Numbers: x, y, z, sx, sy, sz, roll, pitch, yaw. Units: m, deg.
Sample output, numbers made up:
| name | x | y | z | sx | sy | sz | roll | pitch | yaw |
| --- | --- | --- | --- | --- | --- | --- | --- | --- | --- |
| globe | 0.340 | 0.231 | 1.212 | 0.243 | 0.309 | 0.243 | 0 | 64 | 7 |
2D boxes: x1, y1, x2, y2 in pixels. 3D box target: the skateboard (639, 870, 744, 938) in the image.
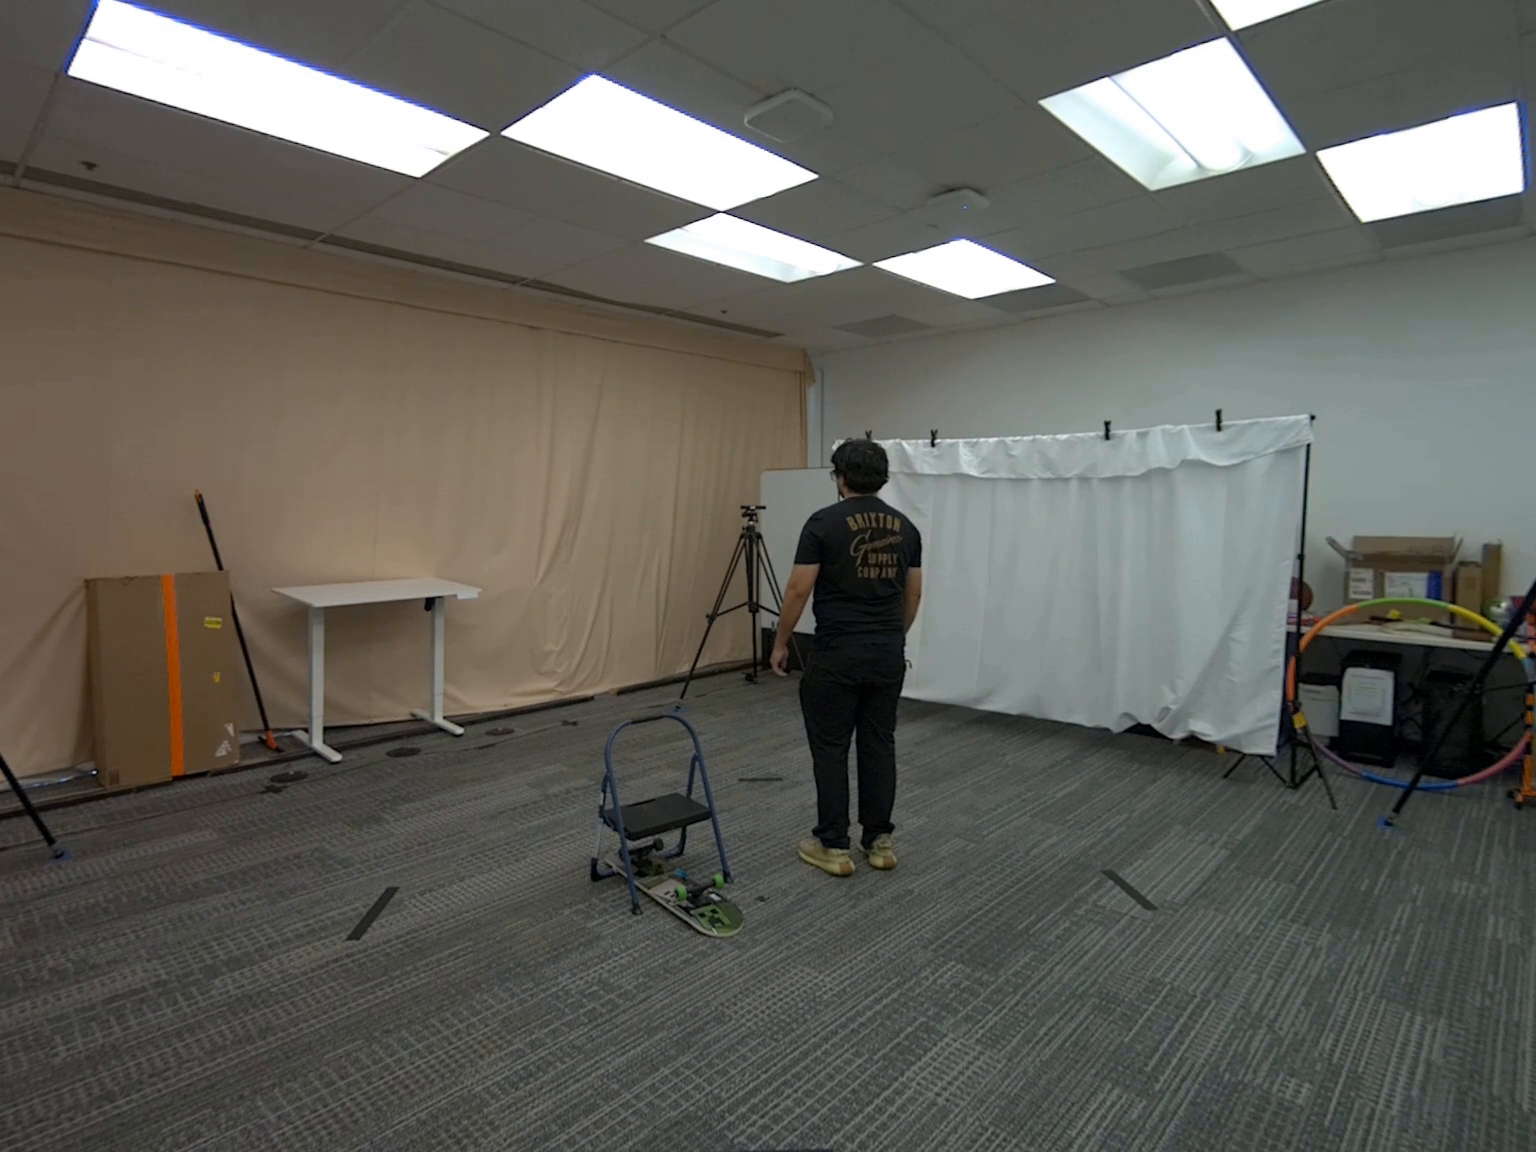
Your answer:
| name | x | y | z | sx | sy | sz | roll | pitch | yaw |
| --- | --- | --- | --- | --- | --- | --- | --- | --- | --- |
| skateboard | -0.362 | 1.090 | 3.043 | 0.187 | 0.110 | 0.811 | -2 | 5 | -38 |
